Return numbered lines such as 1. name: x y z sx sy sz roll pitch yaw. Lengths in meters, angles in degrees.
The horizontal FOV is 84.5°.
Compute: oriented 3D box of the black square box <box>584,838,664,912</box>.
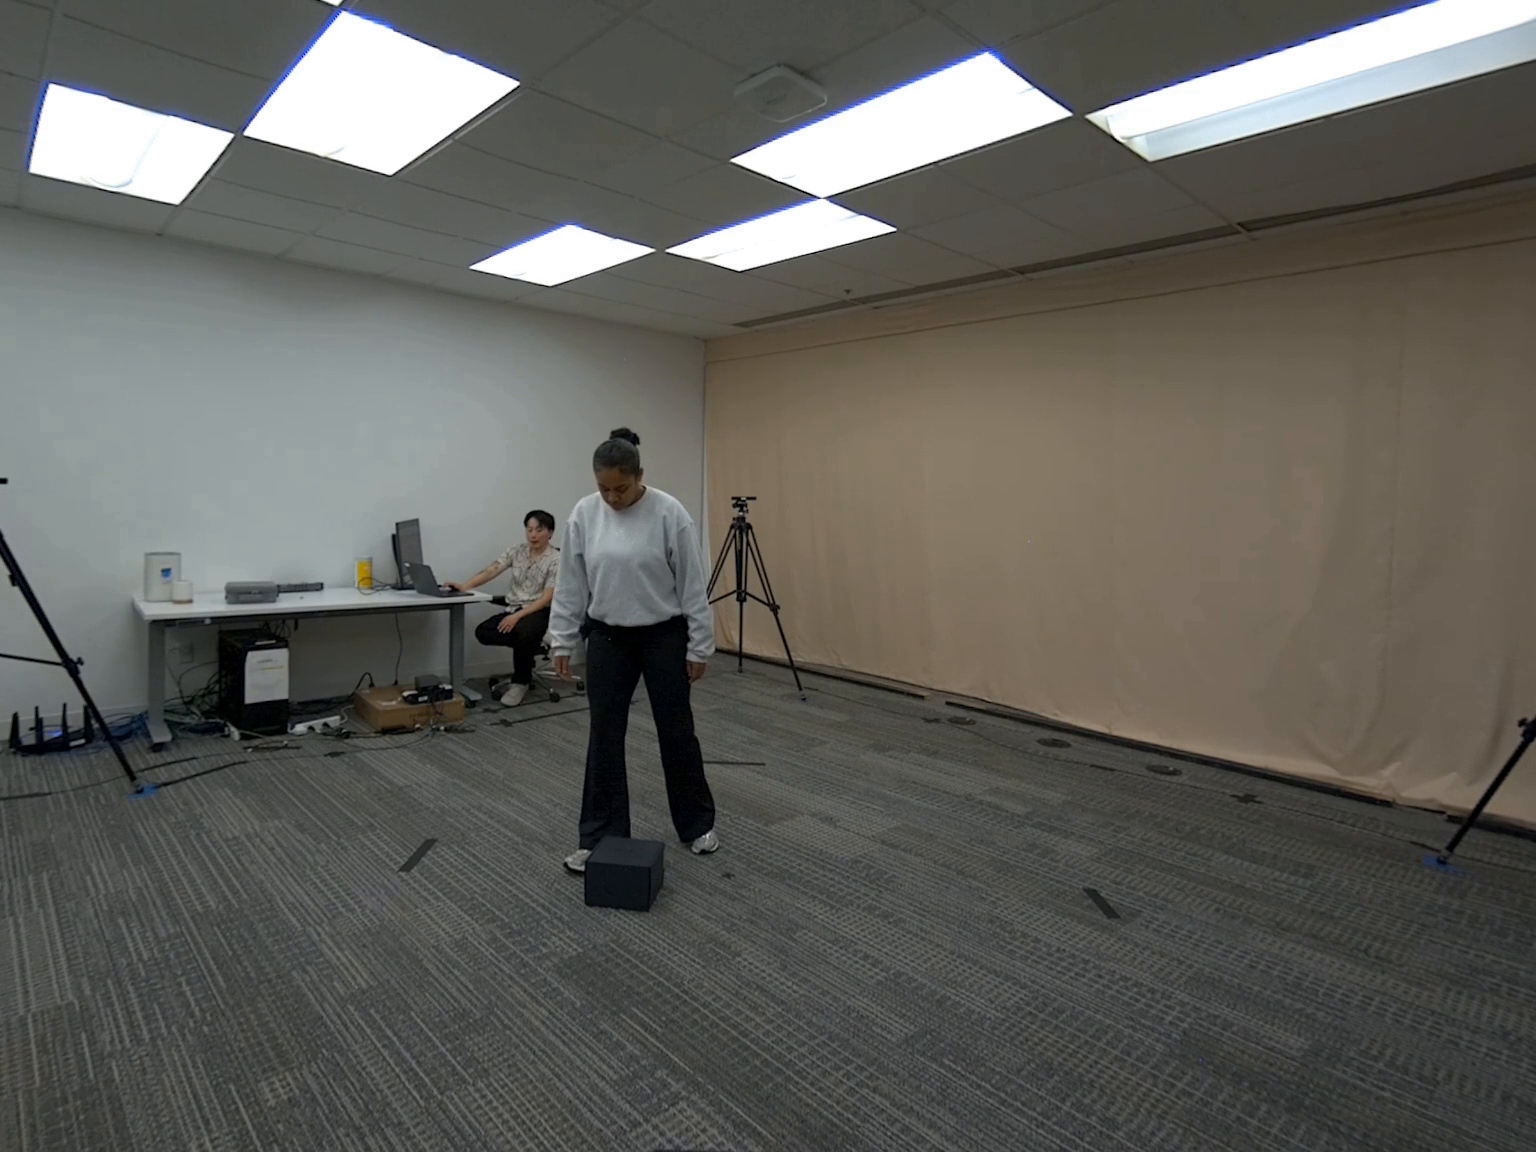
1. black square box: -0.512 1.031 2.931 0.229 0.155 0.216 2 5 8
